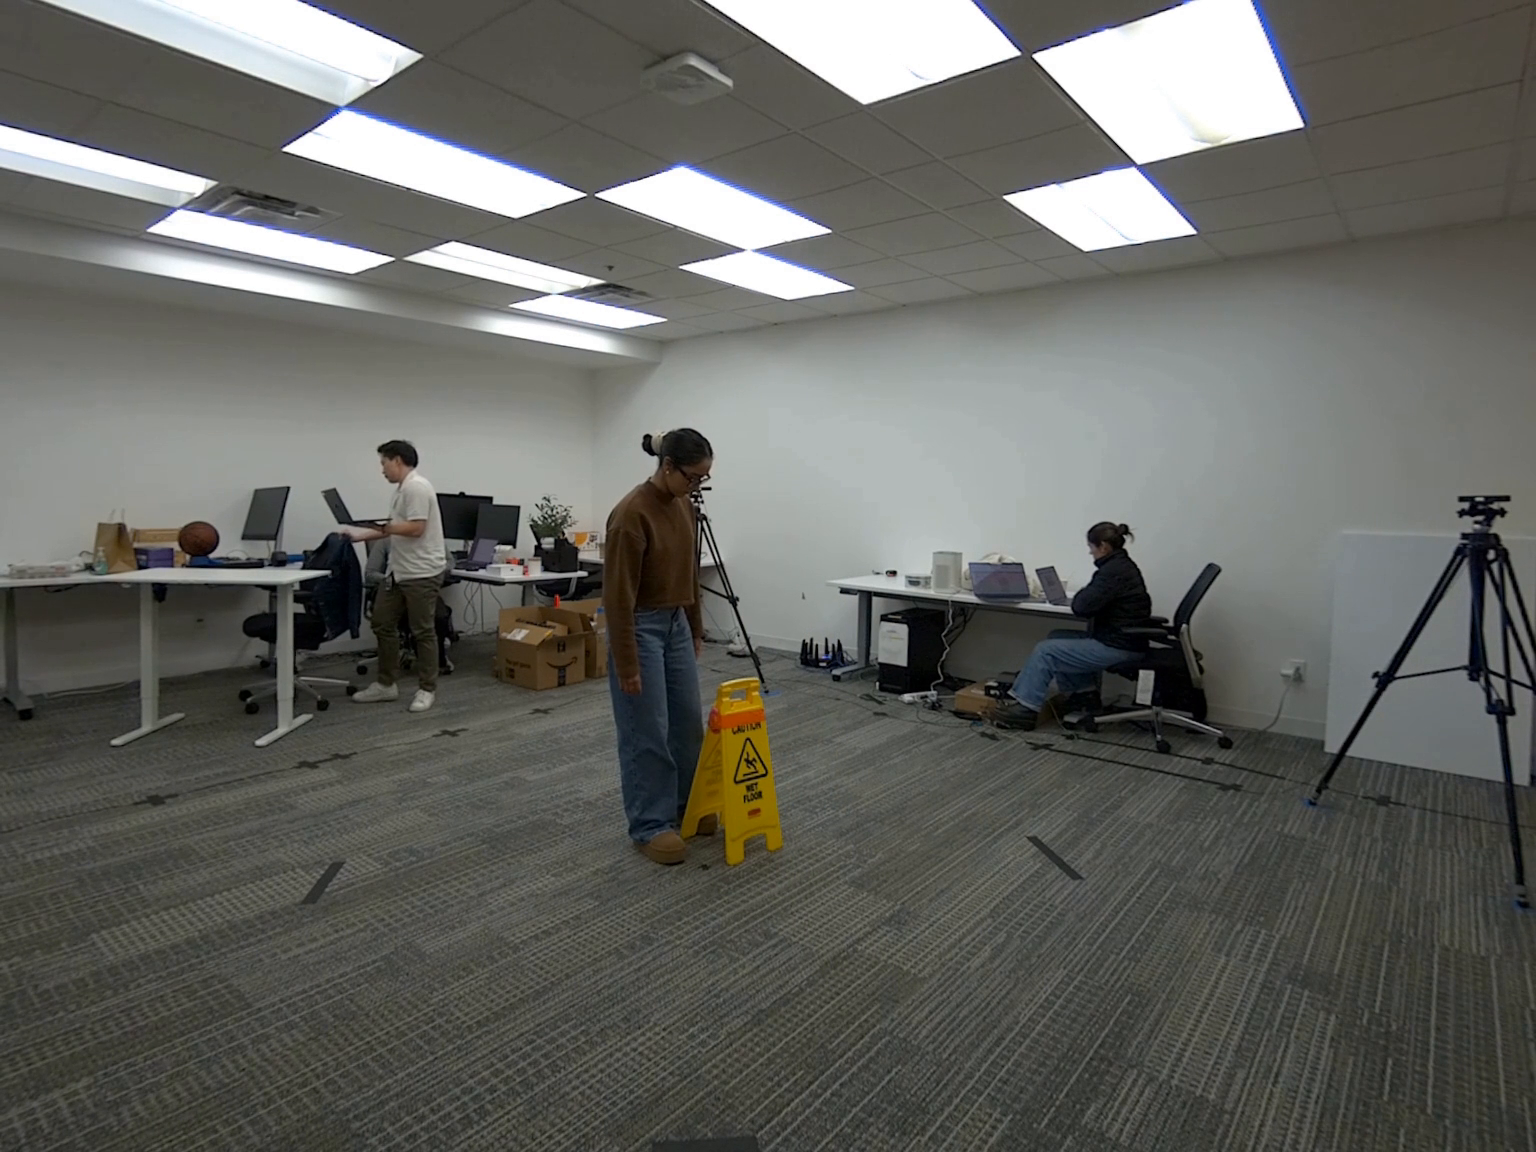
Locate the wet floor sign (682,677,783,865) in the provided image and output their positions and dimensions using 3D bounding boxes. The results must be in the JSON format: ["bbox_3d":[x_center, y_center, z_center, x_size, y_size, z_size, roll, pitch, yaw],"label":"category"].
[{"bbox_3d":[-0.133,0.724,3.293,0.273,0.643,0.300,0,6,-40],"label":"wet floor sign"}]
